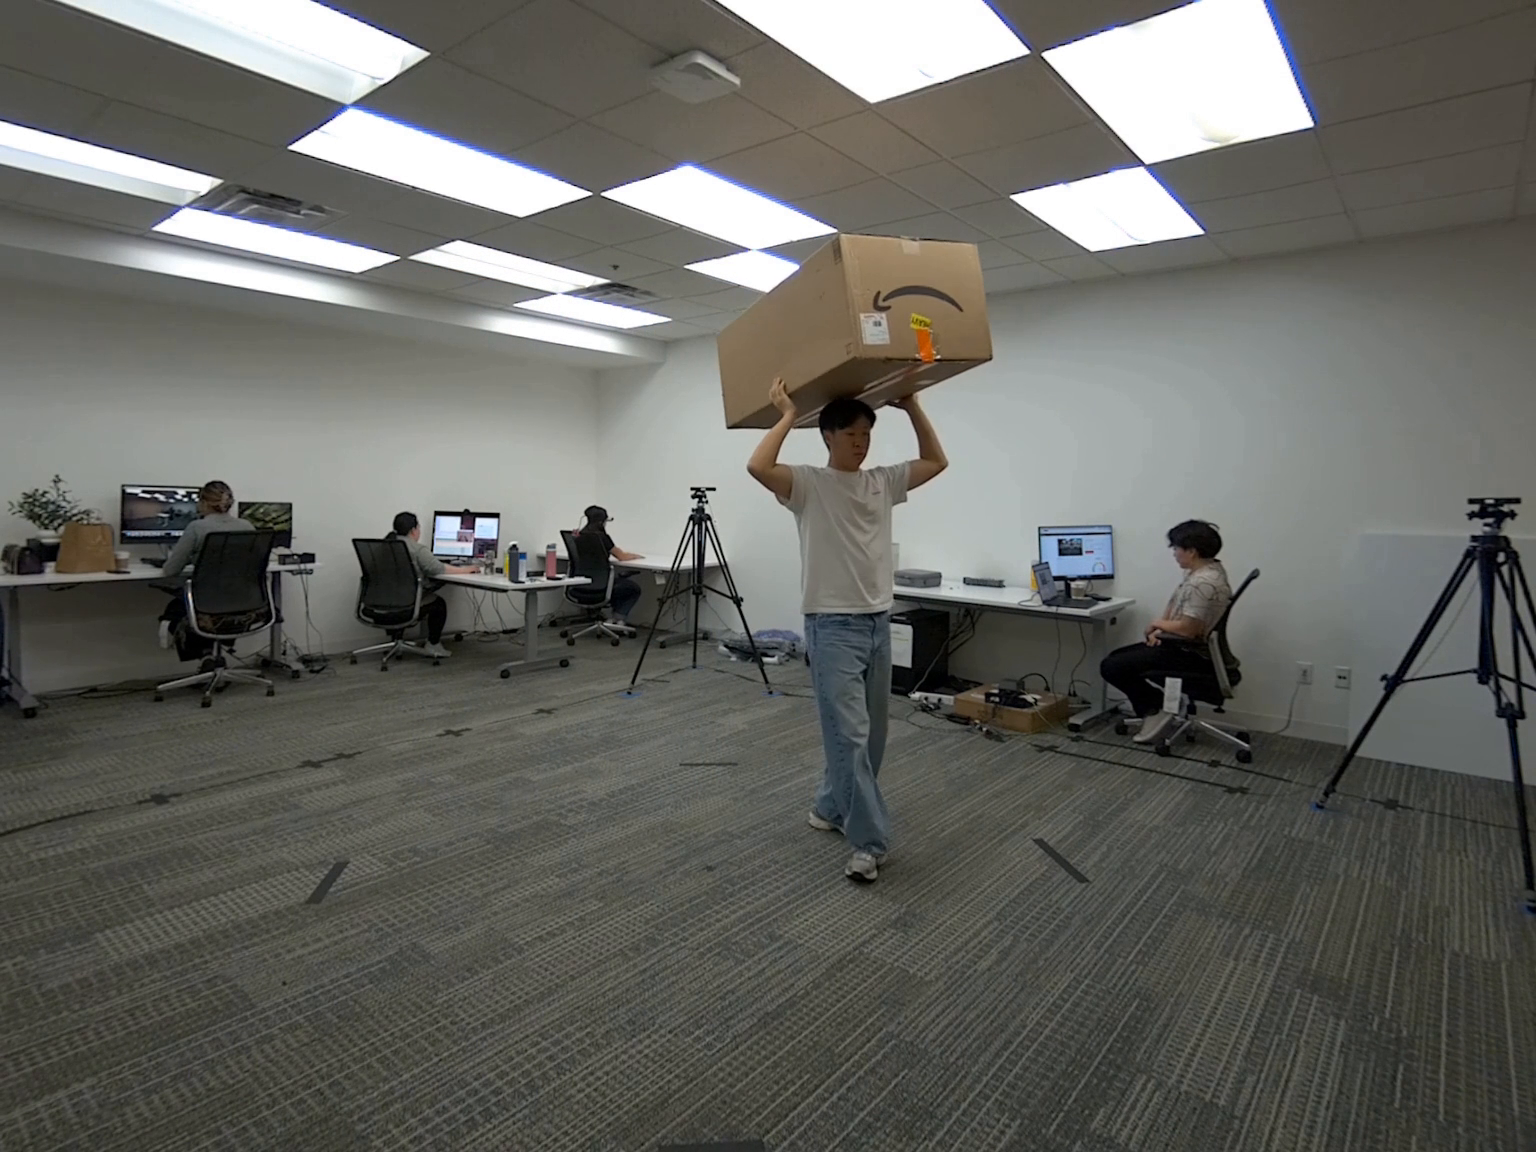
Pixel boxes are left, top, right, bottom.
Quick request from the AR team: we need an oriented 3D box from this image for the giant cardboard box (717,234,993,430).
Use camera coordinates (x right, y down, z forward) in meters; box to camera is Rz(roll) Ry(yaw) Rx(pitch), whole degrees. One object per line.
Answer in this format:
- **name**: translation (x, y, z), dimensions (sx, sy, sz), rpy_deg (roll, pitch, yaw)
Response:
- **giant cardboard box**: translation (0.266, -0.899, 3.321), dimensions (0.565, 0.428, 1.045), rpy_deg (-6, -2, -26)
